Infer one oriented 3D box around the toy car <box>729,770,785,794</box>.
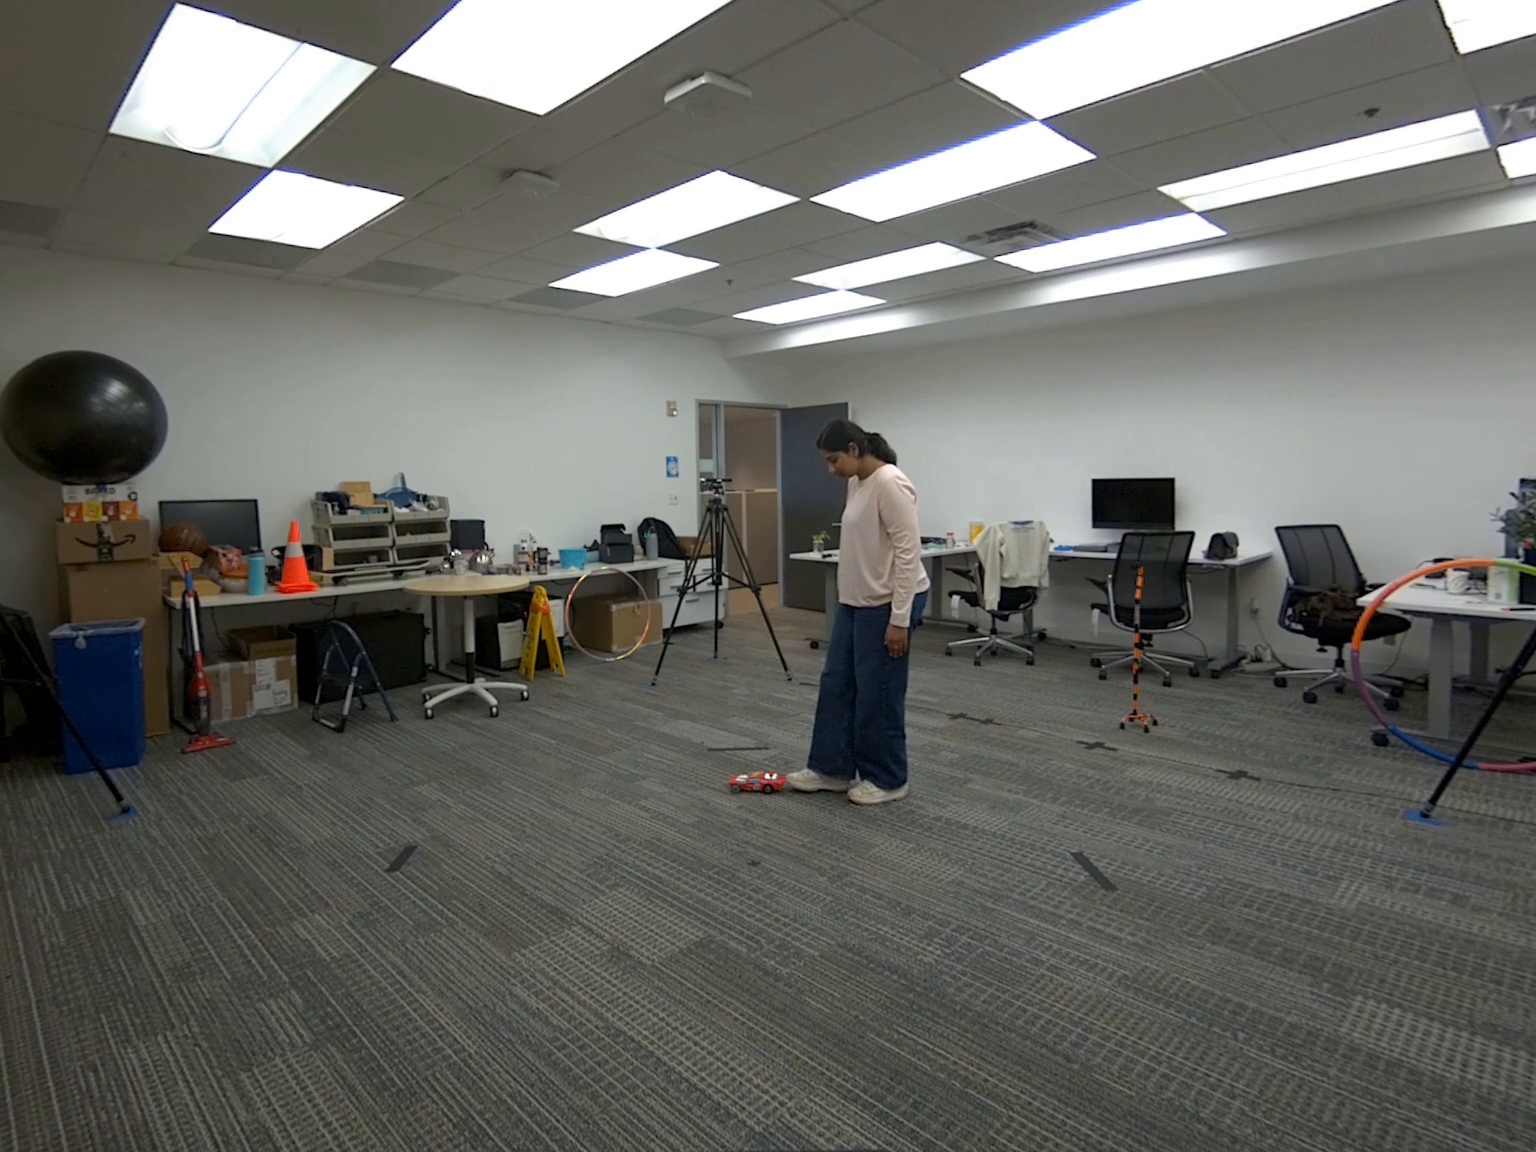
[{"bbox_3d":[-0.043,0.931,3.849,0.256,0.083,0.130,-12,4,9],"label":"toy car"}]
